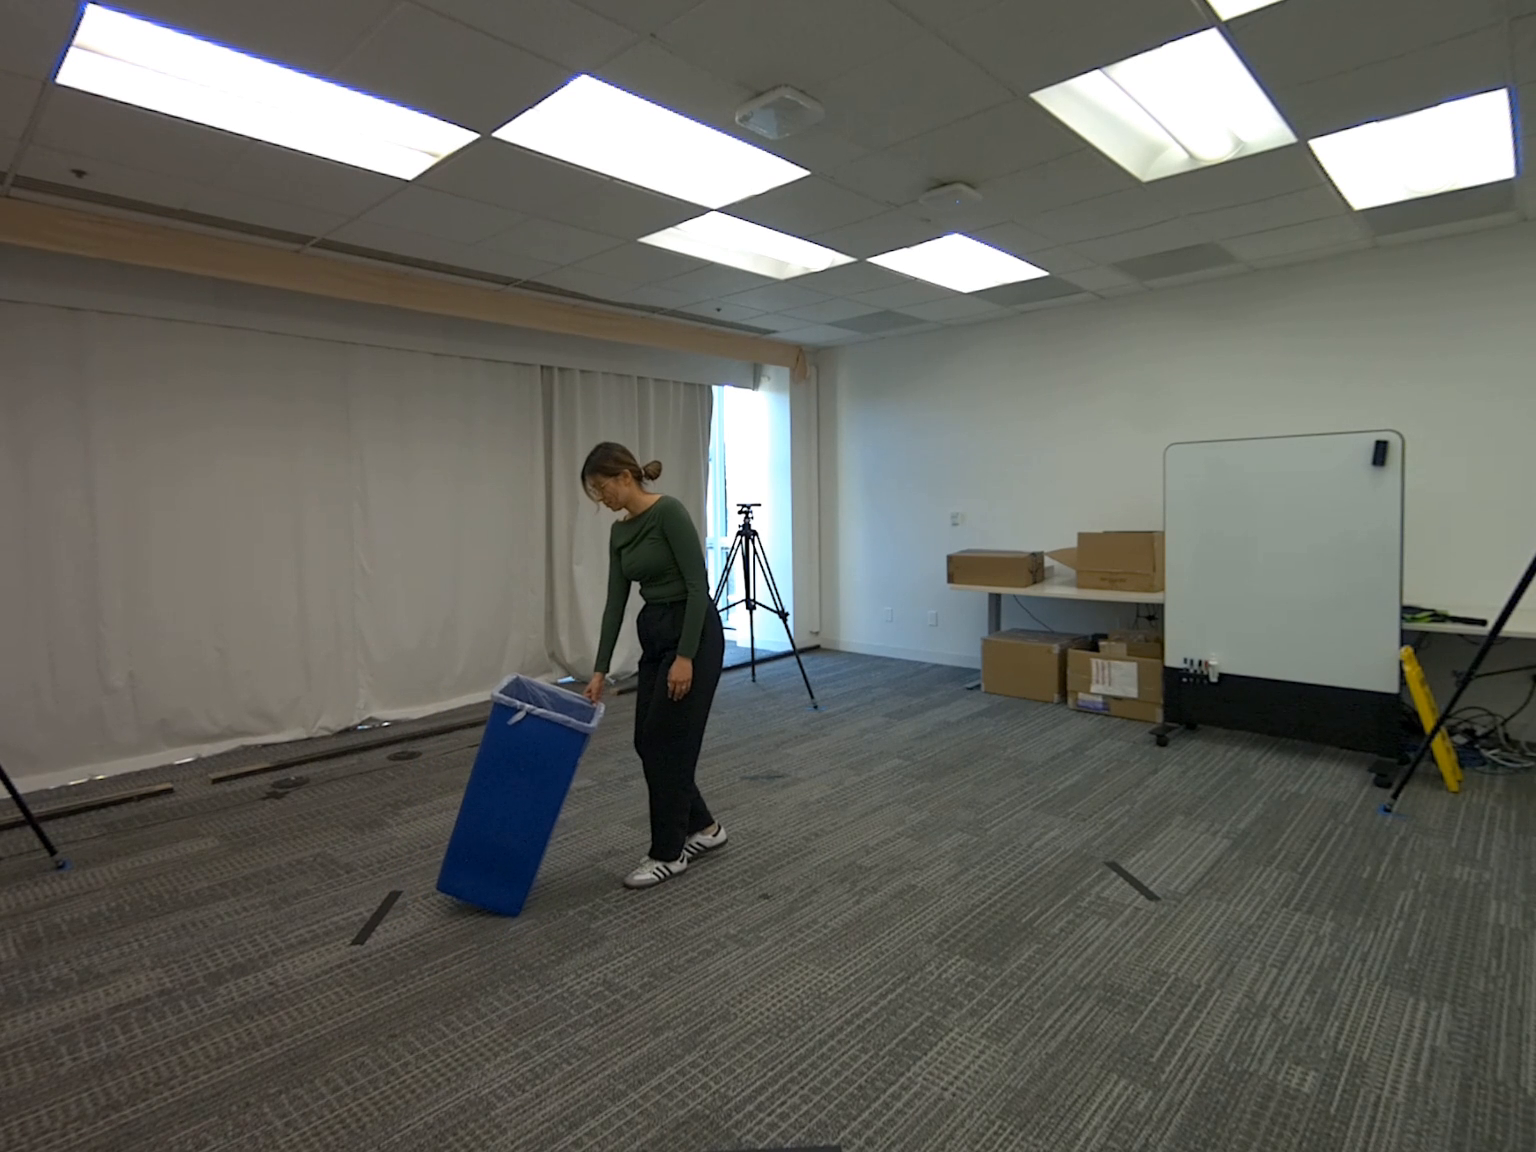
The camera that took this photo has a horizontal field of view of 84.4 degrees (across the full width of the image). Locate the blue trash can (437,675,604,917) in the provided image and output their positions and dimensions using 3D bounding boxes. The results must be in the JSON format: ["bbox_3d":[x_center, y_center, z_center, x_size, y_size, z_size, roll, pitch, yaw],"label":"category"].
[{"bbox_3d":[-0.891,0.768,2.996,0.372,0.713,0.380,21,1,-6],"label":"blue trash can"}]
